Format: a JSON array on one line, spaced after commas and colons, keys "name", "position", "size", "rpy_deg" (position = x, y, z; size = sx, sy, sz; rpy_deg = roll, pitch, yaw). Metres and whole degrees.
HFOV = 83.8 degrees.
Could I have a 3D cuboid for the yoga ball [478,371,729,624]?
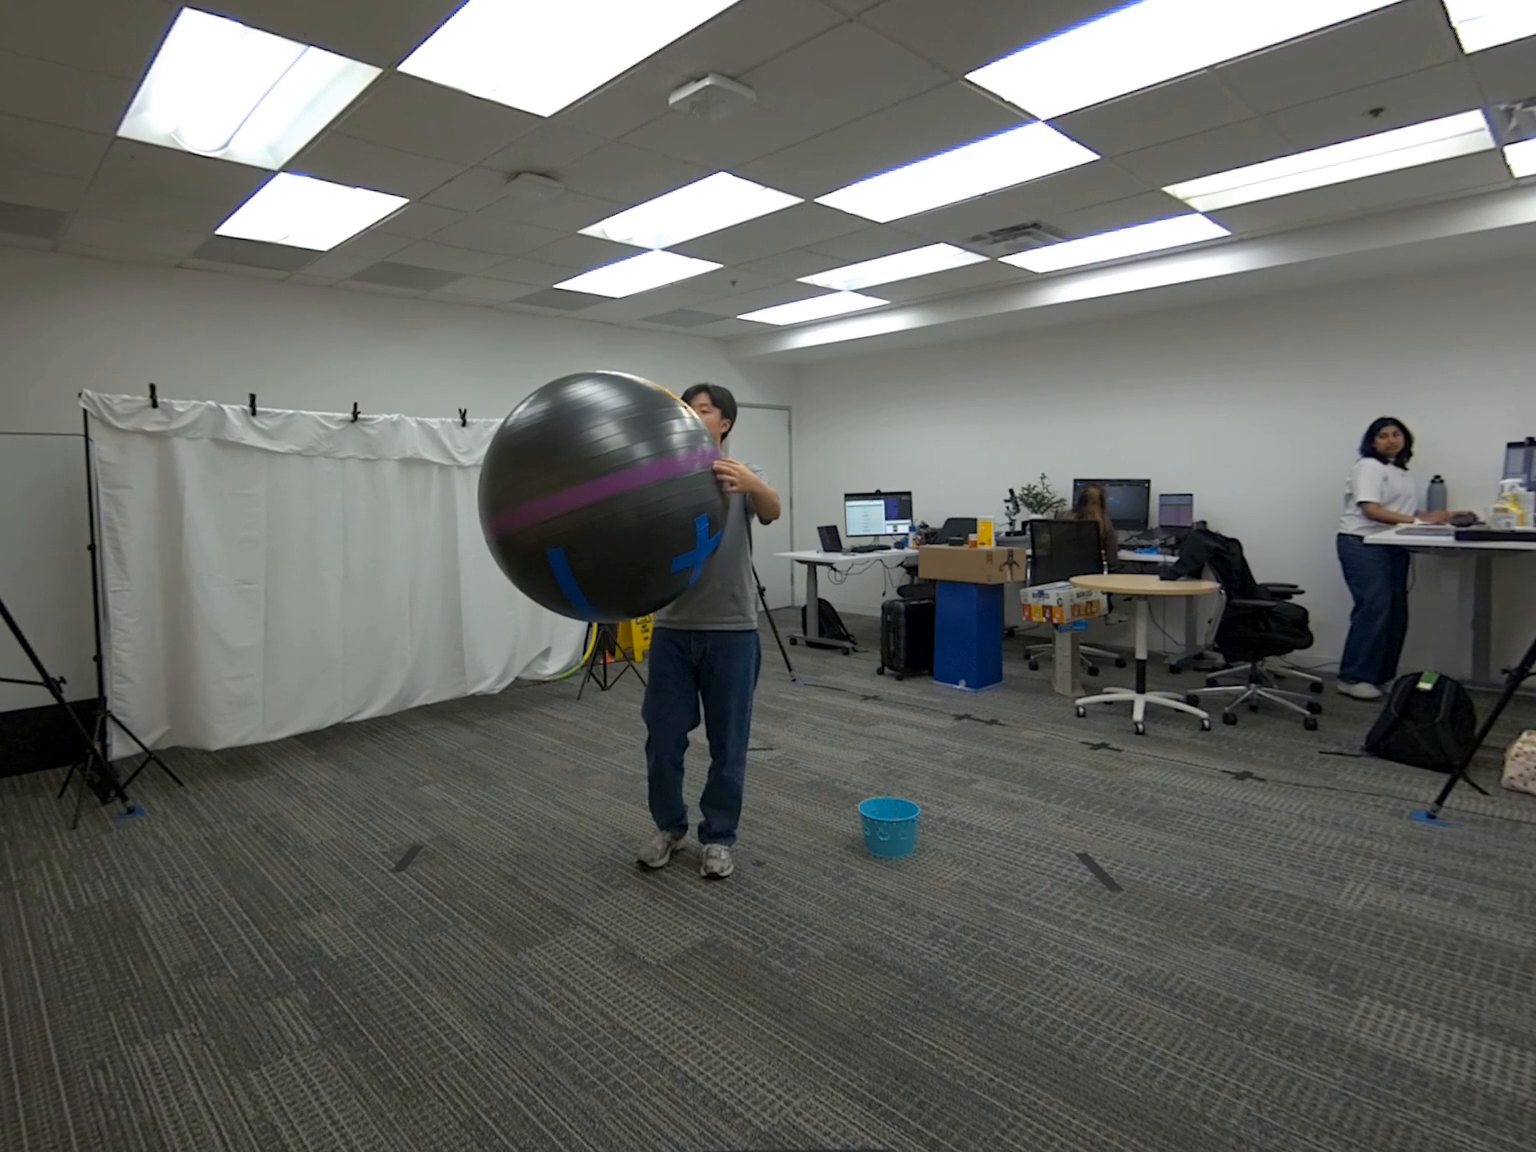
[{"name": "yoga ball", "position": [-0.509, -0.230, 2.607], "size": [0.757, 0.755, 0.762], "rpy_deg": [-1, 5, -2]}]
